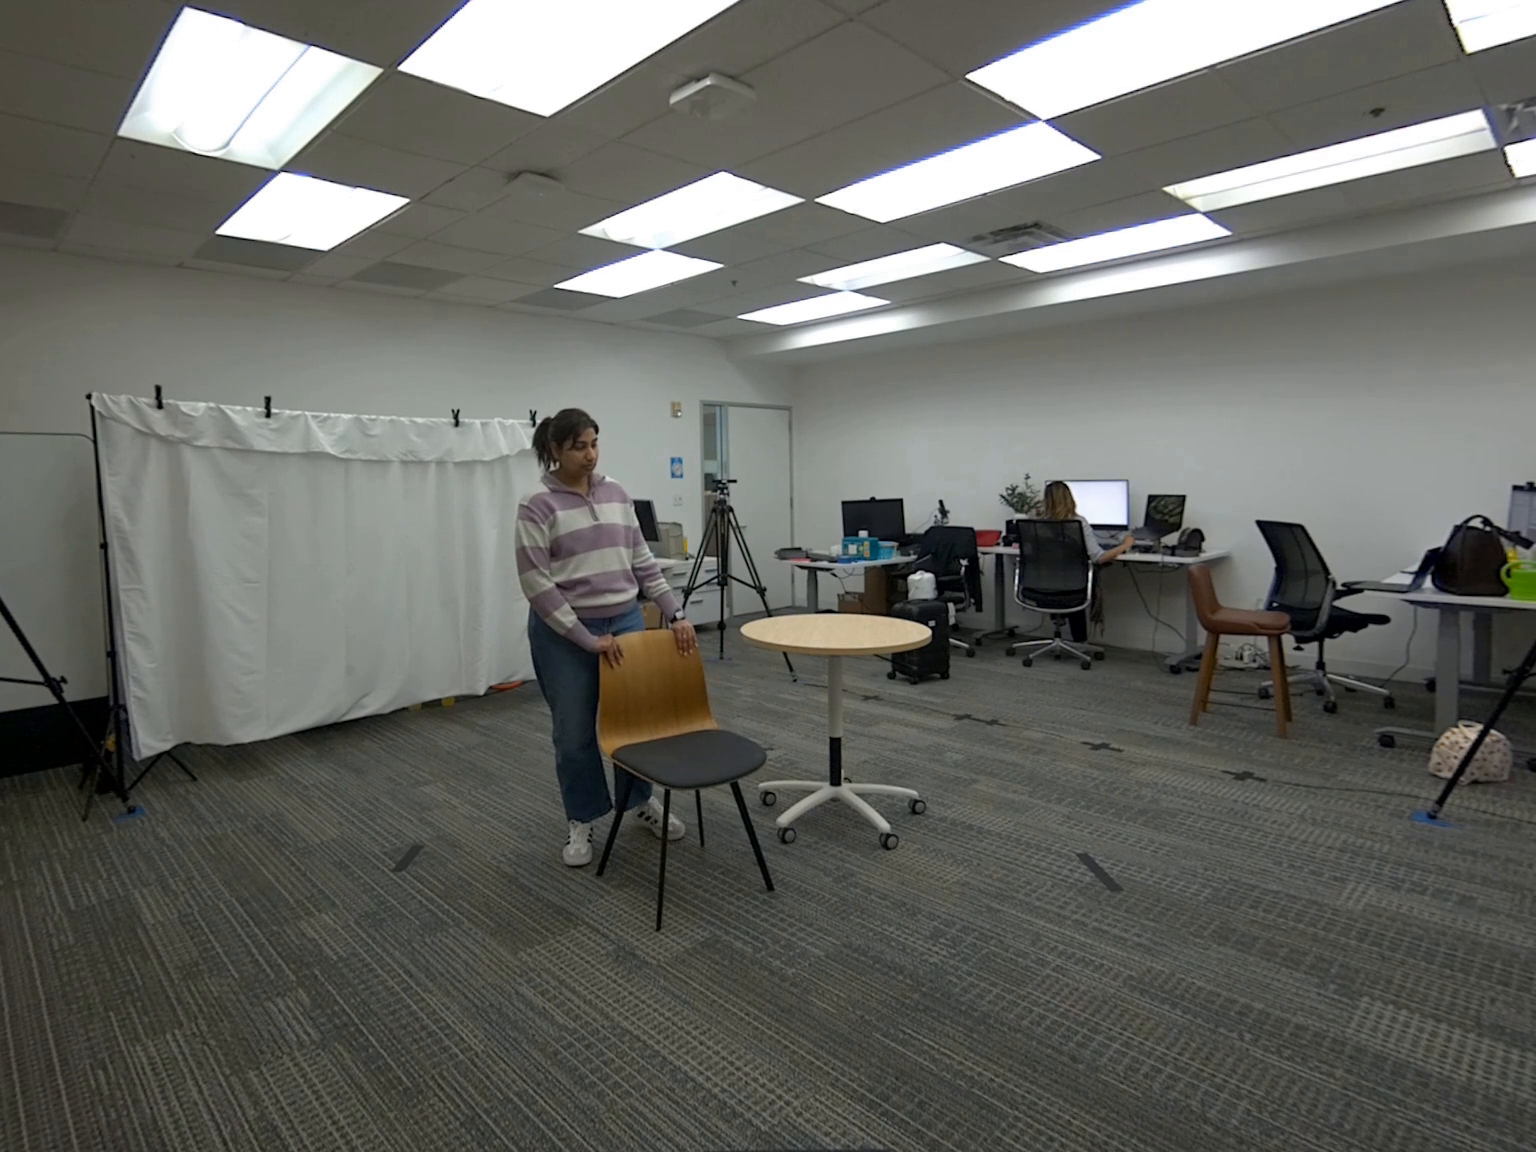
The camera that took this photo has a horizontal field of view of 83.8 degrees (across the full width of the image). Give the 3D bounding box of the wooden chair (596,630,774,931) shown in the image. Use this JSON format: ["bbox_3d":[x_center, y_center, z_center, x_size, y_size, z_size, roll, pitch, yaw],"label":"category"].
[{"bbox_3d":[-0.293,0.647,2.923,0.466,0.877,0.536,-4,1,-34],"label":"wooden chair"}]
